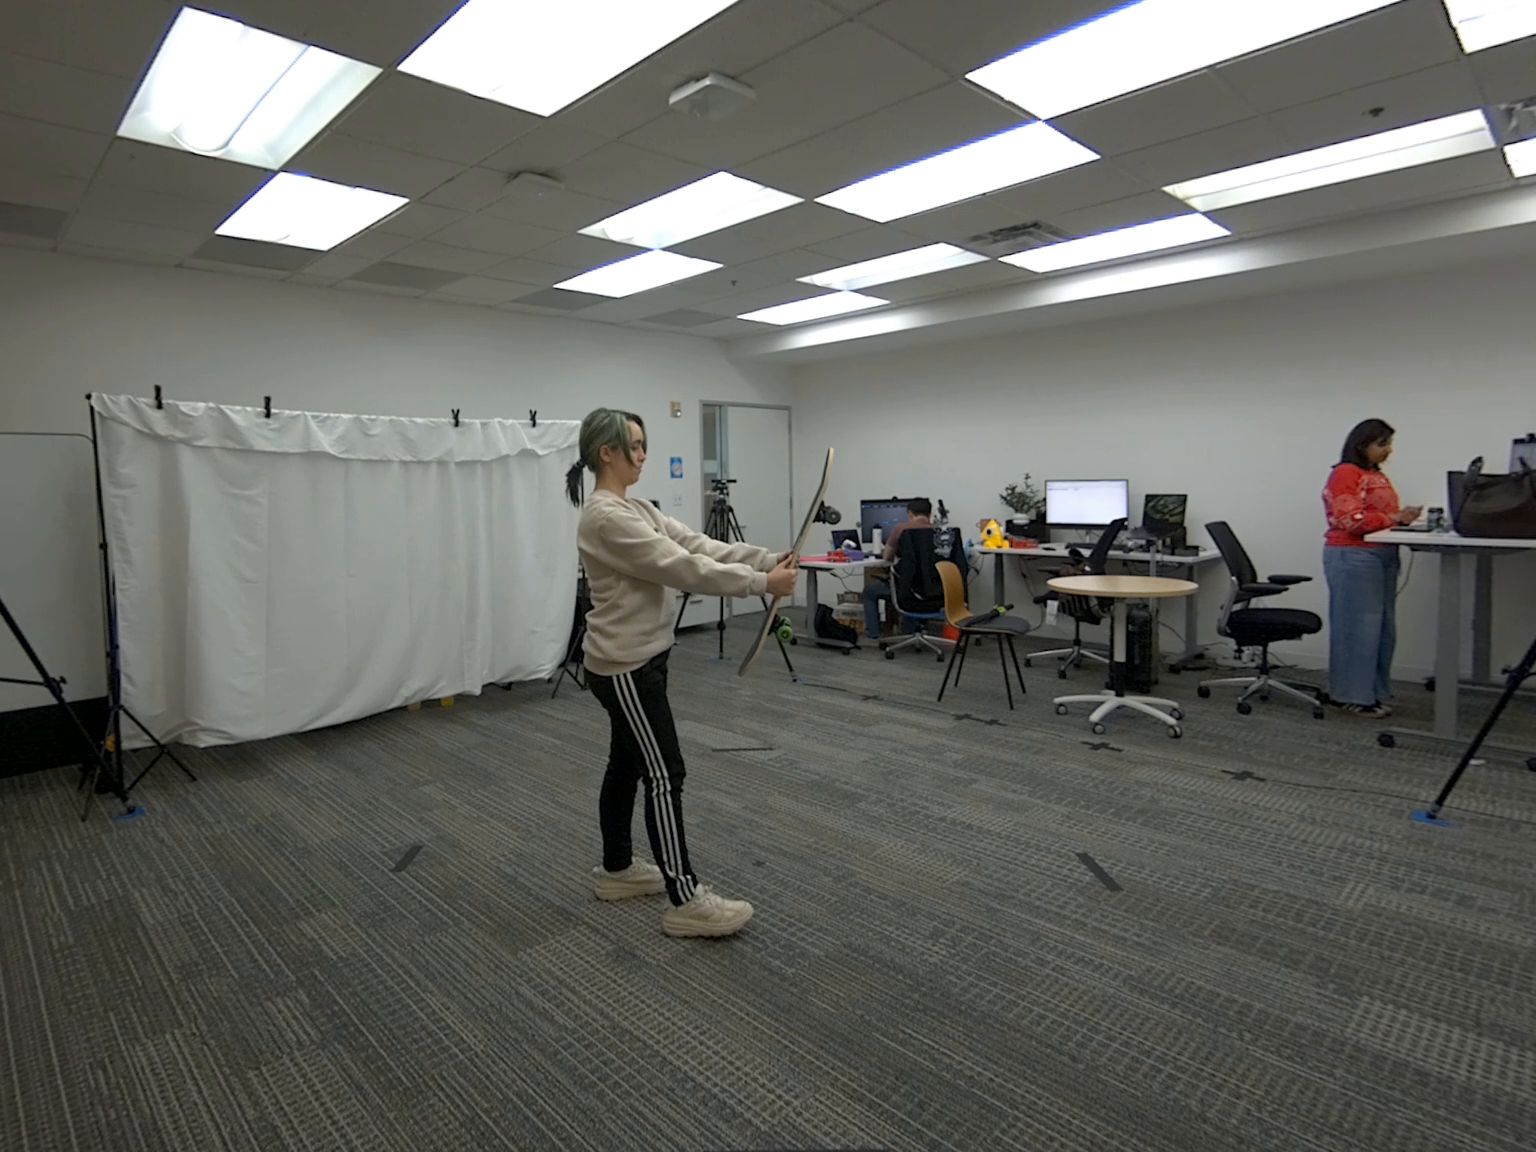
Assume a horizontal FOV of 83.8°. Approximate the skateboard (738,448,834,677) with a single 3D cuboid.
[{"bbox_3d":[0.099,-0.023,2.732,0.110,0.783,0.194,22,5,-2],"label":"skateboard"}]
